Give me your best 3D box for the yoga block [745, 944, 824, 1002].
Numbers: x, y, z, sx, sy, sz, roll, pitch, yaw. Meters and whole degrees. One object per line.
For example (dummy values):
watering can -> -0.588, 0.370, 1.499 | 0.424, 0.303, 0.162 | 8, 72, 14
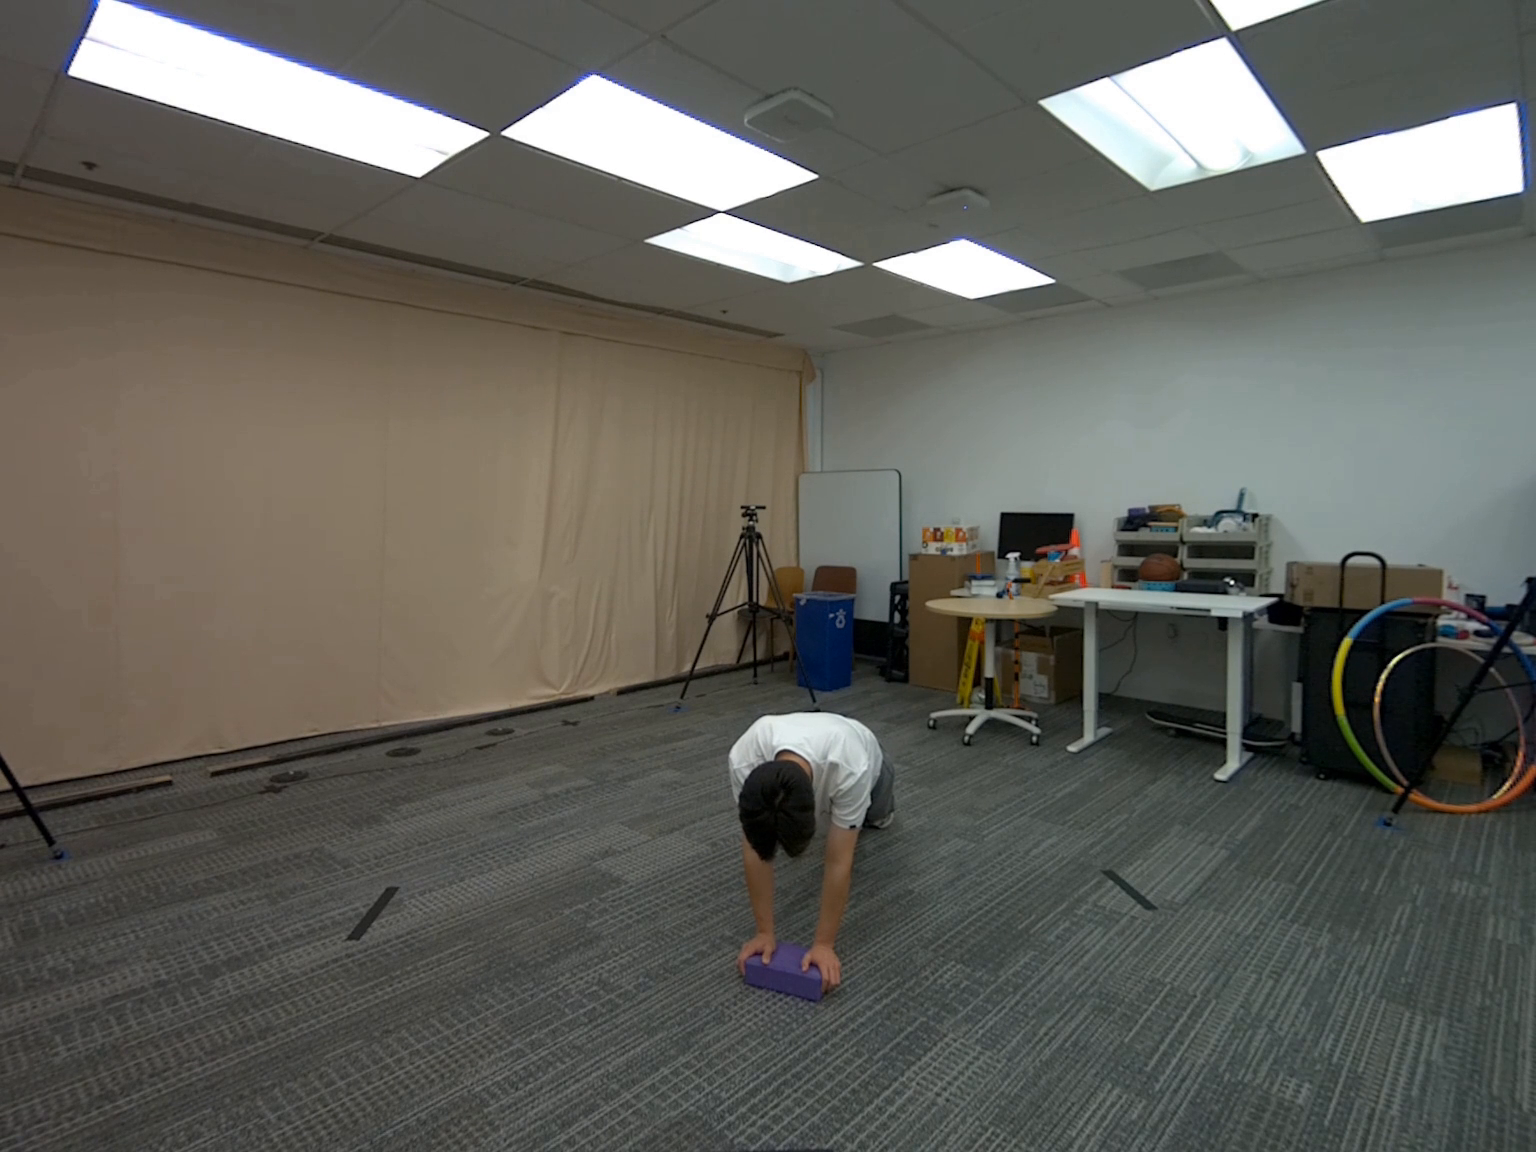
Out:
yoga block -> 0.069, 1.157, 2.460 | 0.235, 0.076, 0.145 | 4, 6, 26
